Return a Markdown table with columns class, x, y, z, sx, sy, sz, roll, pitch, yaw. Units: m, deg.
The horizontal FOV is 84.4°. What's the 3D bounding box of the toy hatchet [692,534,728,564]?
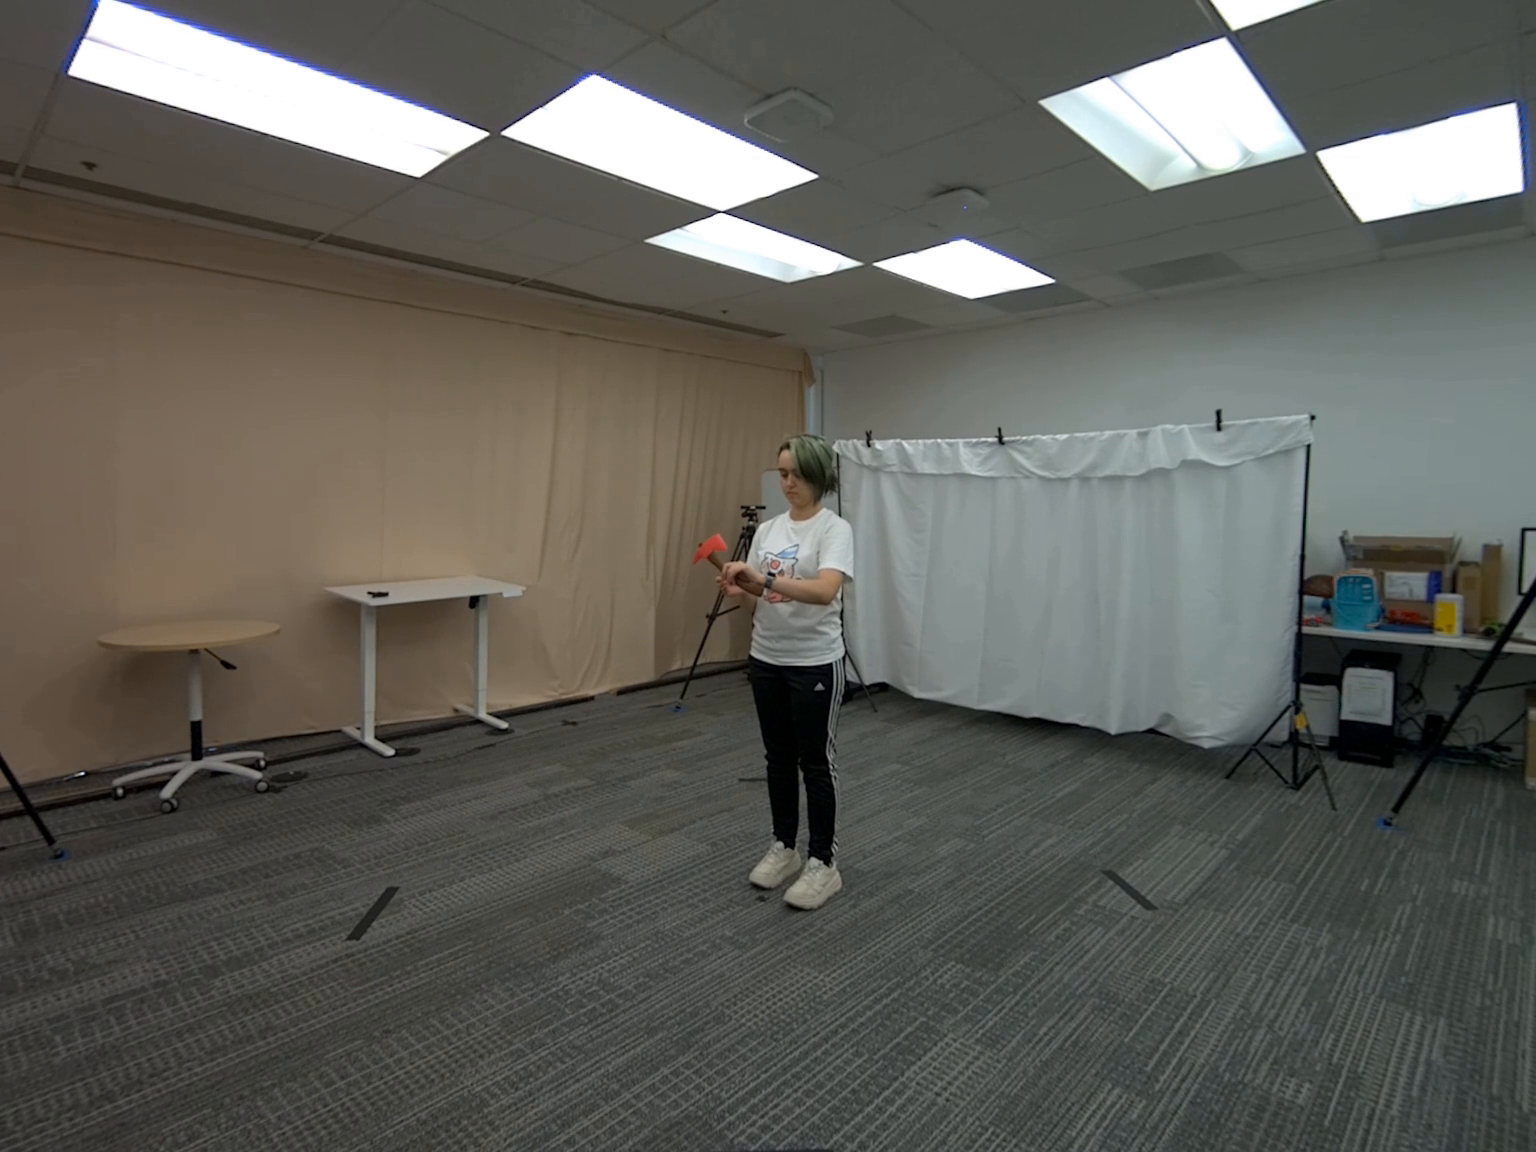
| class | x | y | z | sx | sy | sz | roll | pitch | yaw |
| --- | --- | --- | --- | --- | --- | --- | --- | --- | --- |
| toy hatchet | -0.109 | -0.043 | 2.792 | 0.274 | 0.131 | 0.029 | 24 | 10 | 13 |
